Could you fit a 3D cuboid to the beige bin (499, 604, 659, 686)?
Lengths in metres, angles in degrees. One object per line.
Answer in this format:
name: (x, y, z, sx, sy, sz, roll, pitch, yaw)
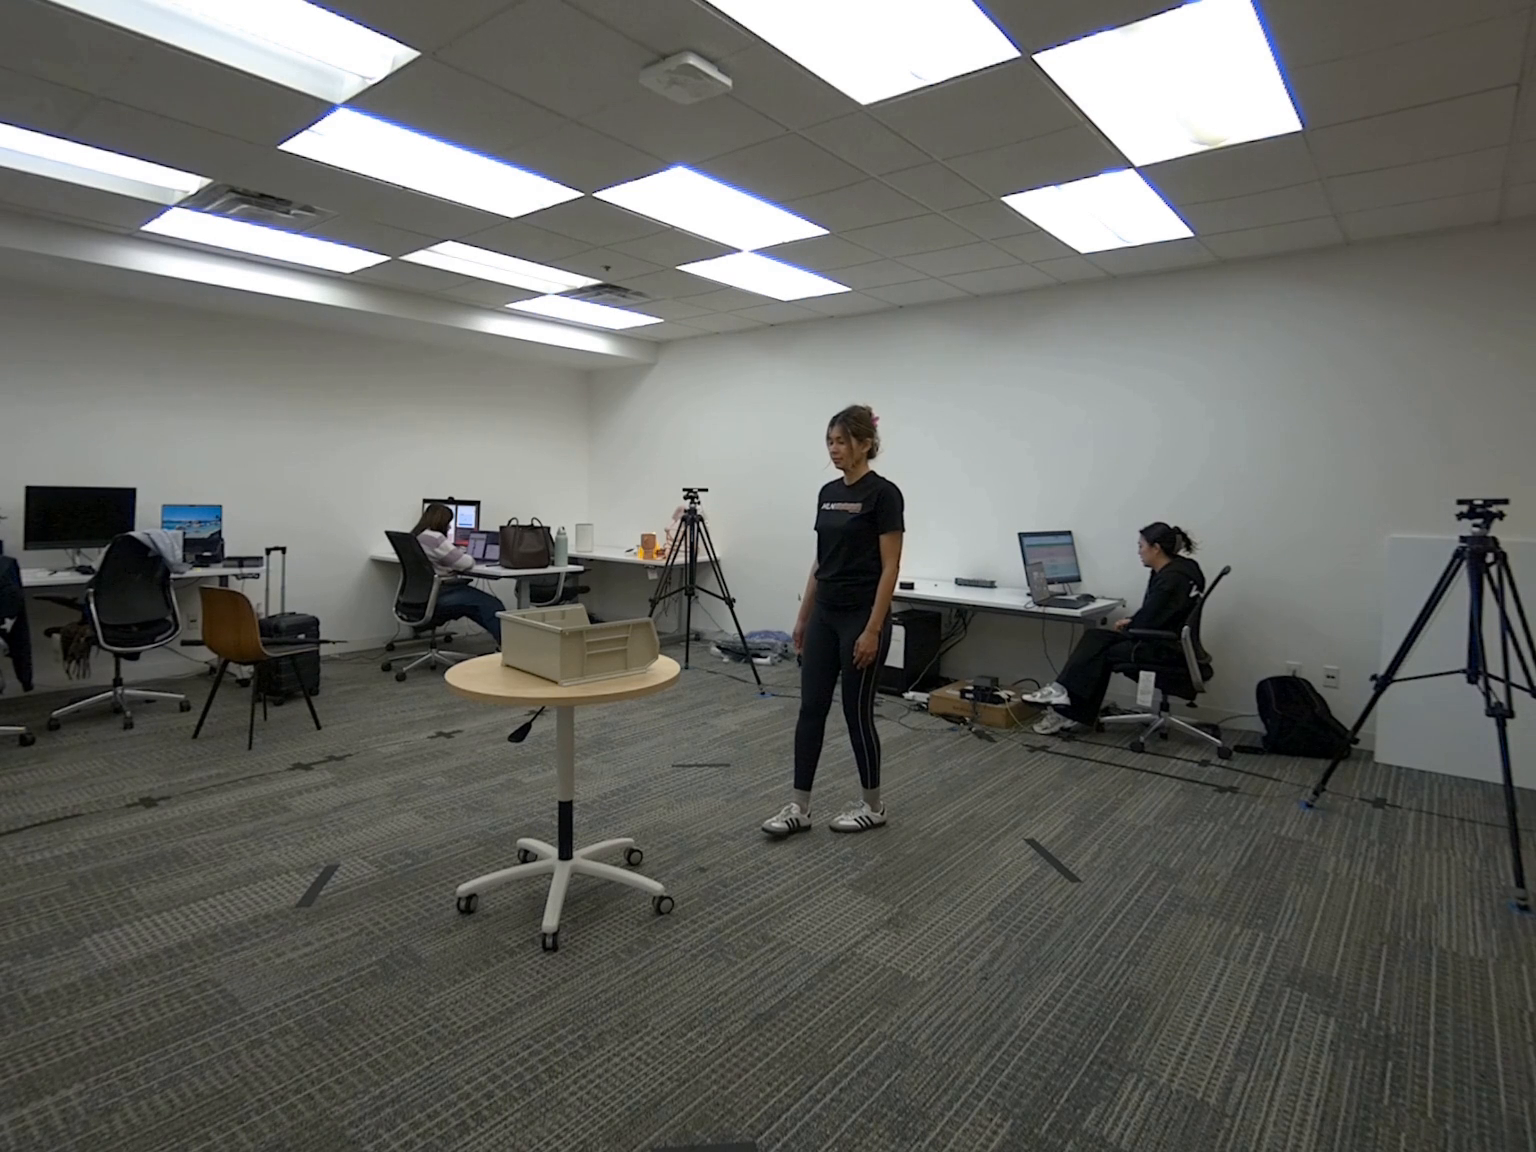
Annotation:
beige bin: (-0.649, 0.220, 2.828, 0.366, 0.188, 0.437, -6, 9, -43)
